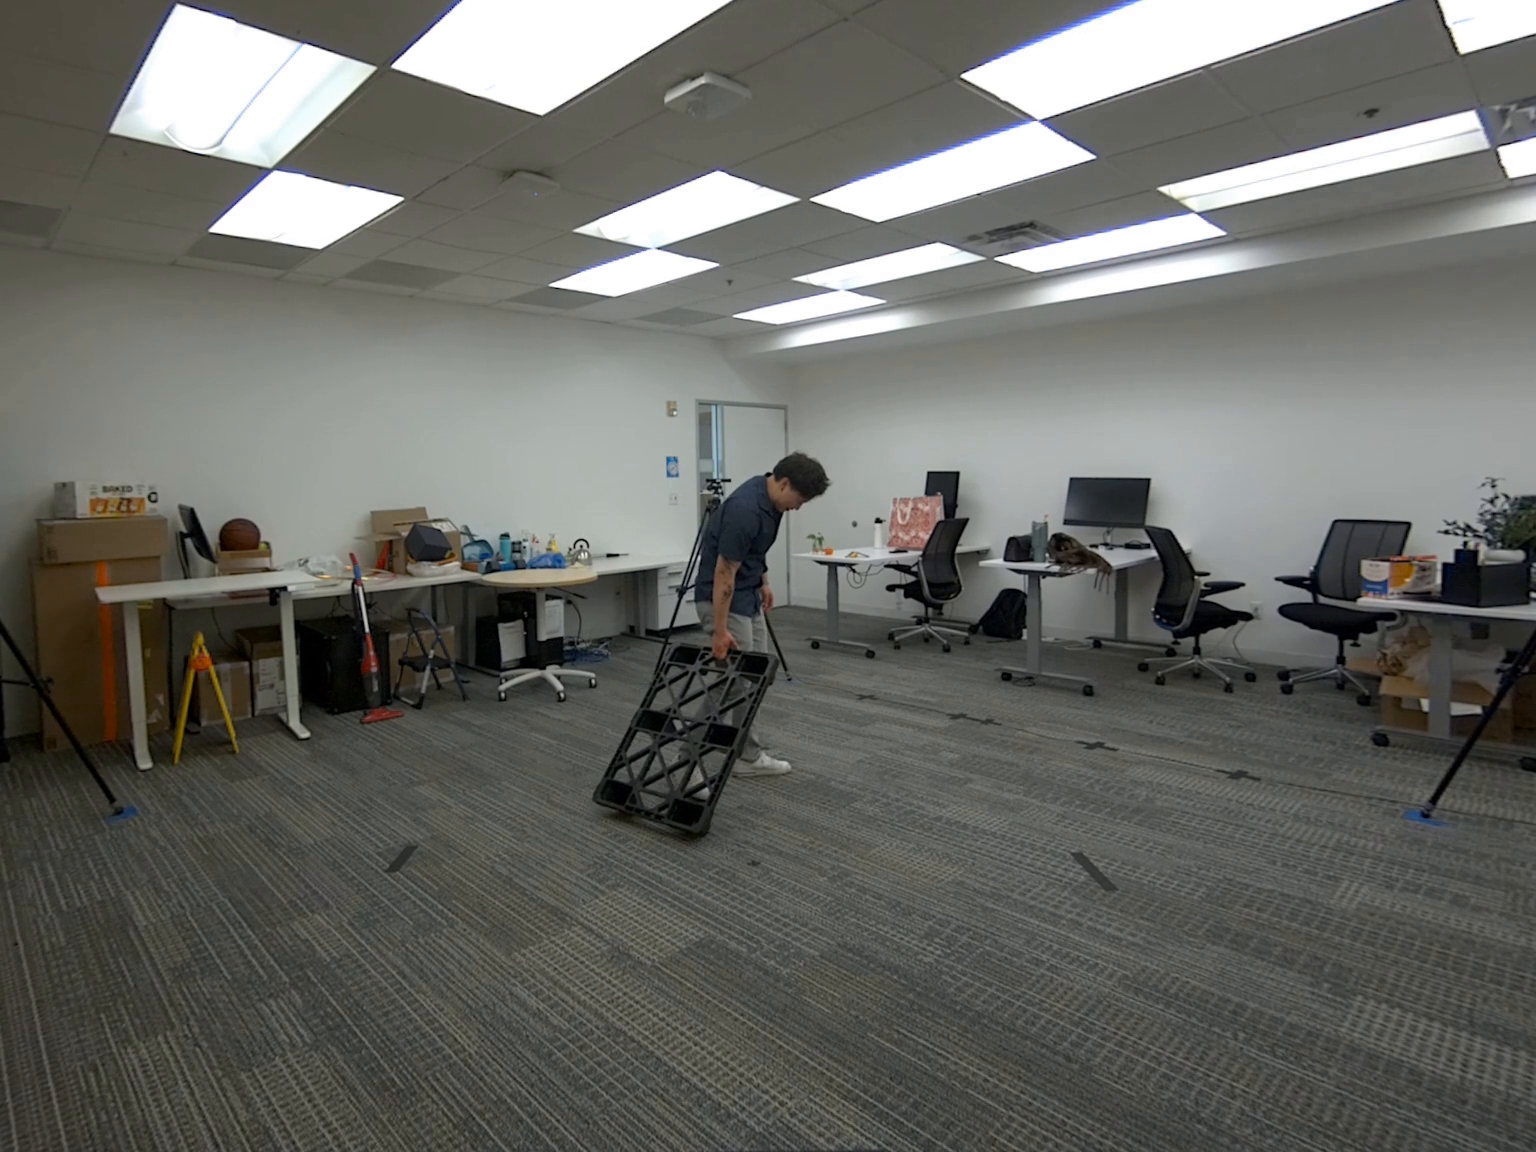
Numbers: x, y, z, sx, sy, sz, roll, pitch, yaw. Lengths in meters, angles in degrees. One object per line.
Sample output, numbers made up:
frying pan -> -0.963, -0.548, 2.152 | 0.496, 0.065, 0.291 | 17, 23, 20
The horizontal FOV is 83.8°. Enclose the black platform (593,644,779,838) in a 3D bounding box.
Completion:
black platform -> -0.332, 0.678, 3.632 | 0.622, 0.813, 0.138 | 1, -37, 37
